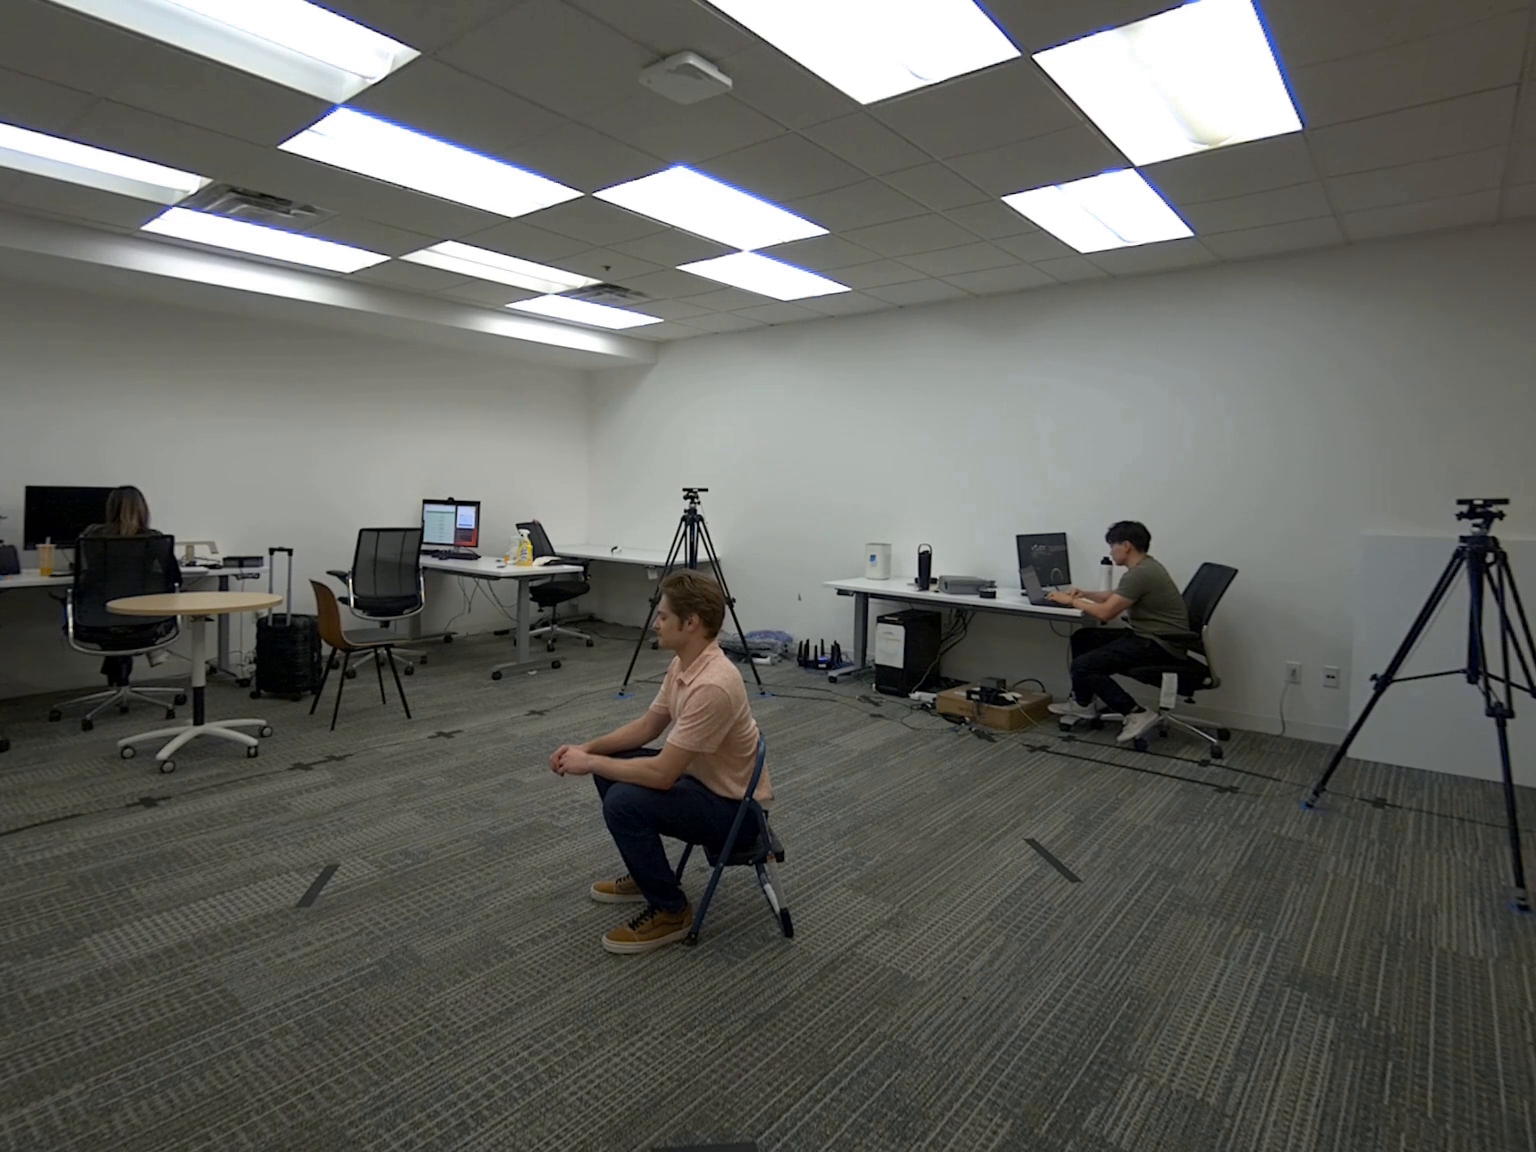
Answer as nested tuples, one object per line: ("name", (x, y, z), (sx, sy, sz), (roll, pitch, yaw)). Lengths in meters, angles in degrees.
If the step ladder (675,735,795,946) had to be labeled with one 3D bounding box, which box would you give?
("step ladder", (-0.130, 0.805, 2.802), (0.345, 0.604, 0.437), (1, 3, -12))
